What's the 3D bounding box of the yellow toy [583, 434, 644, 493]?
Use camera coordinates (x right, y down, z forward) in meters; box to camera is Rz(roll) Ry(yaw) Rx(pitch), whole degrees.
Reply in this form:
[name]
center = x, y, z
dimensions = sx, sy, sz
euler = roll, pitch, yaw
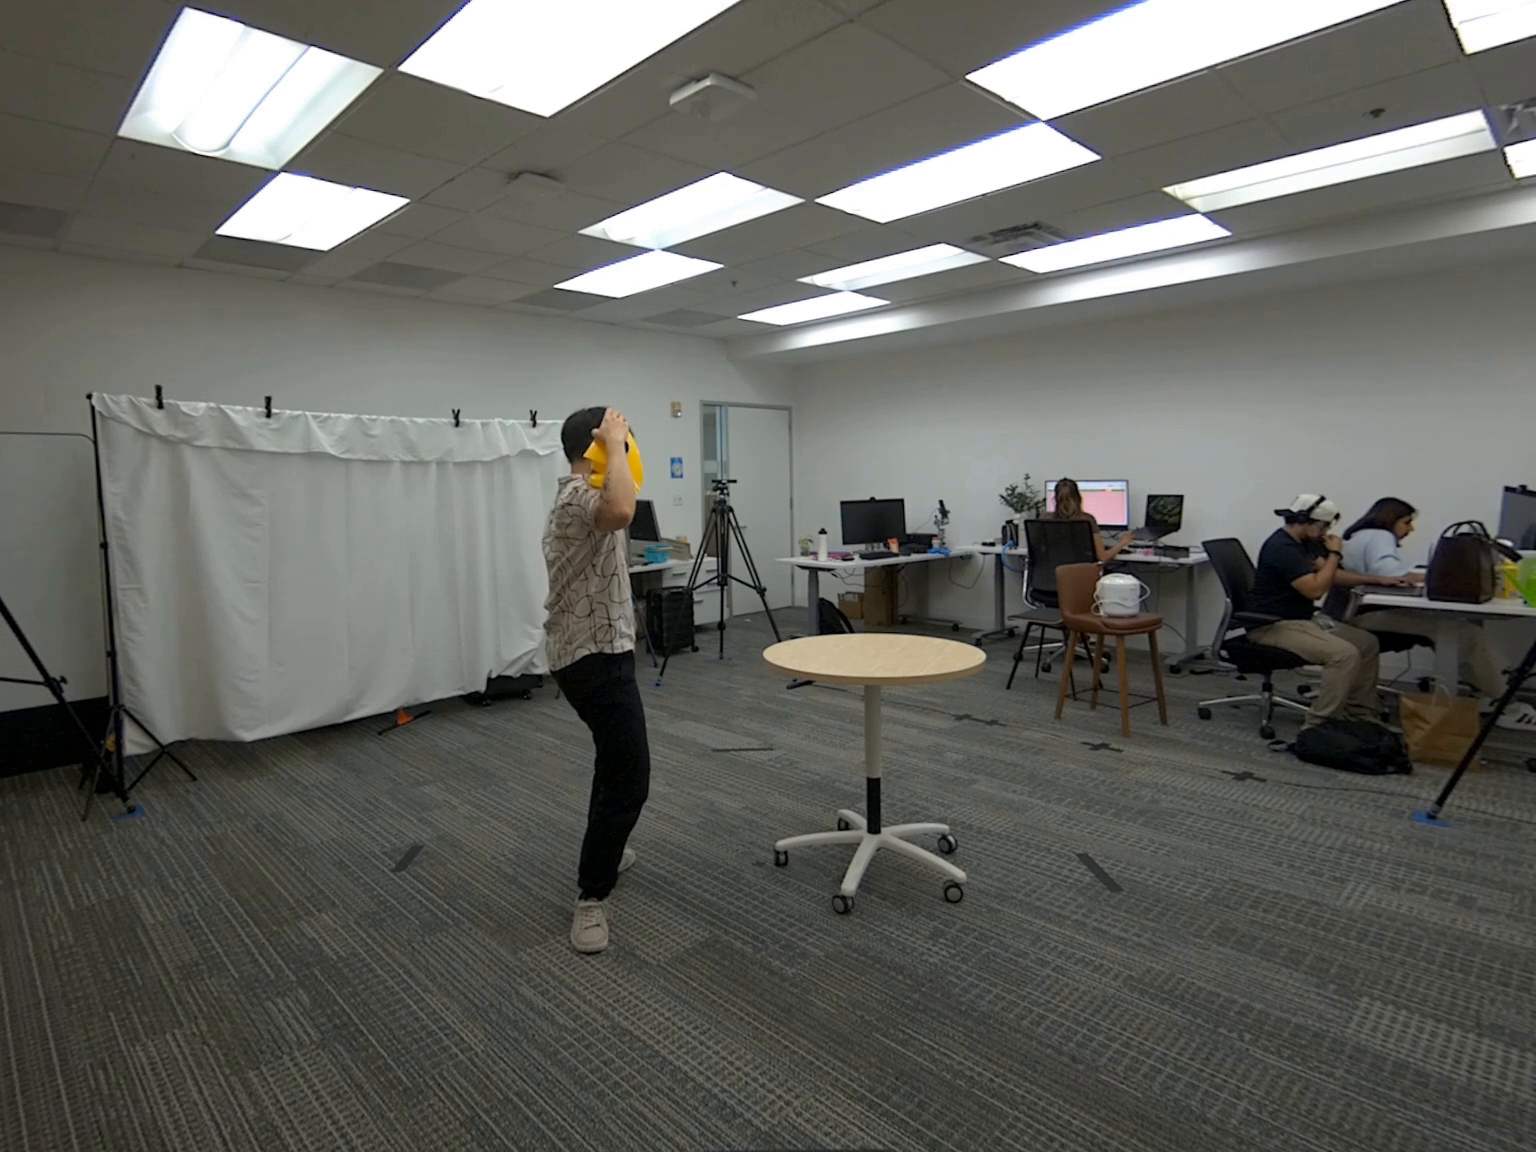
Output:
[yellow toy]
center = -0.460, -0.387, 2.642
dimensions = 0.192, 0.229, 0.207
euler = 13, 8, -6
